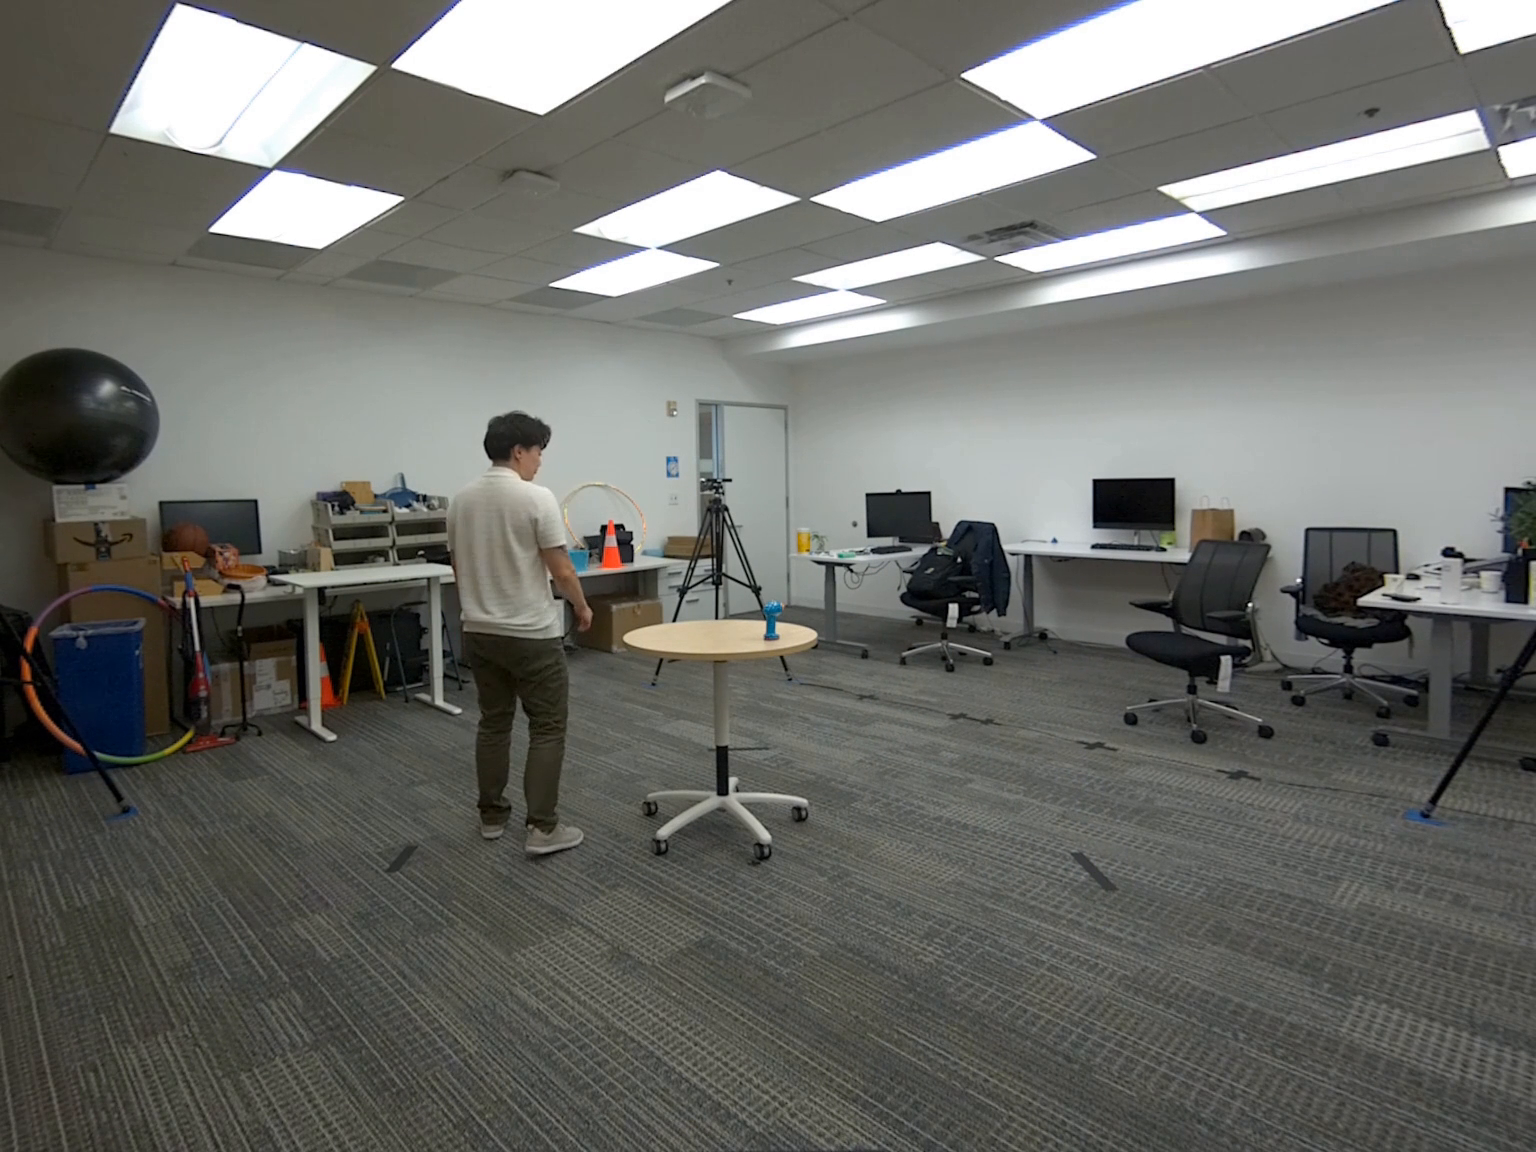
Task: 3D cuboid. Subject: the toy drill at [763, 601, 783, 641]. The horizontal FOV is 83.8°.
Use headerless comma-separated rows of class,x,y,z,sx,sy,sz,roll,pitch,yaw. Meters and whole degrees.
toy drill,0.022,0.163,3.287,0.062,0.146,0.167,0,2,21
